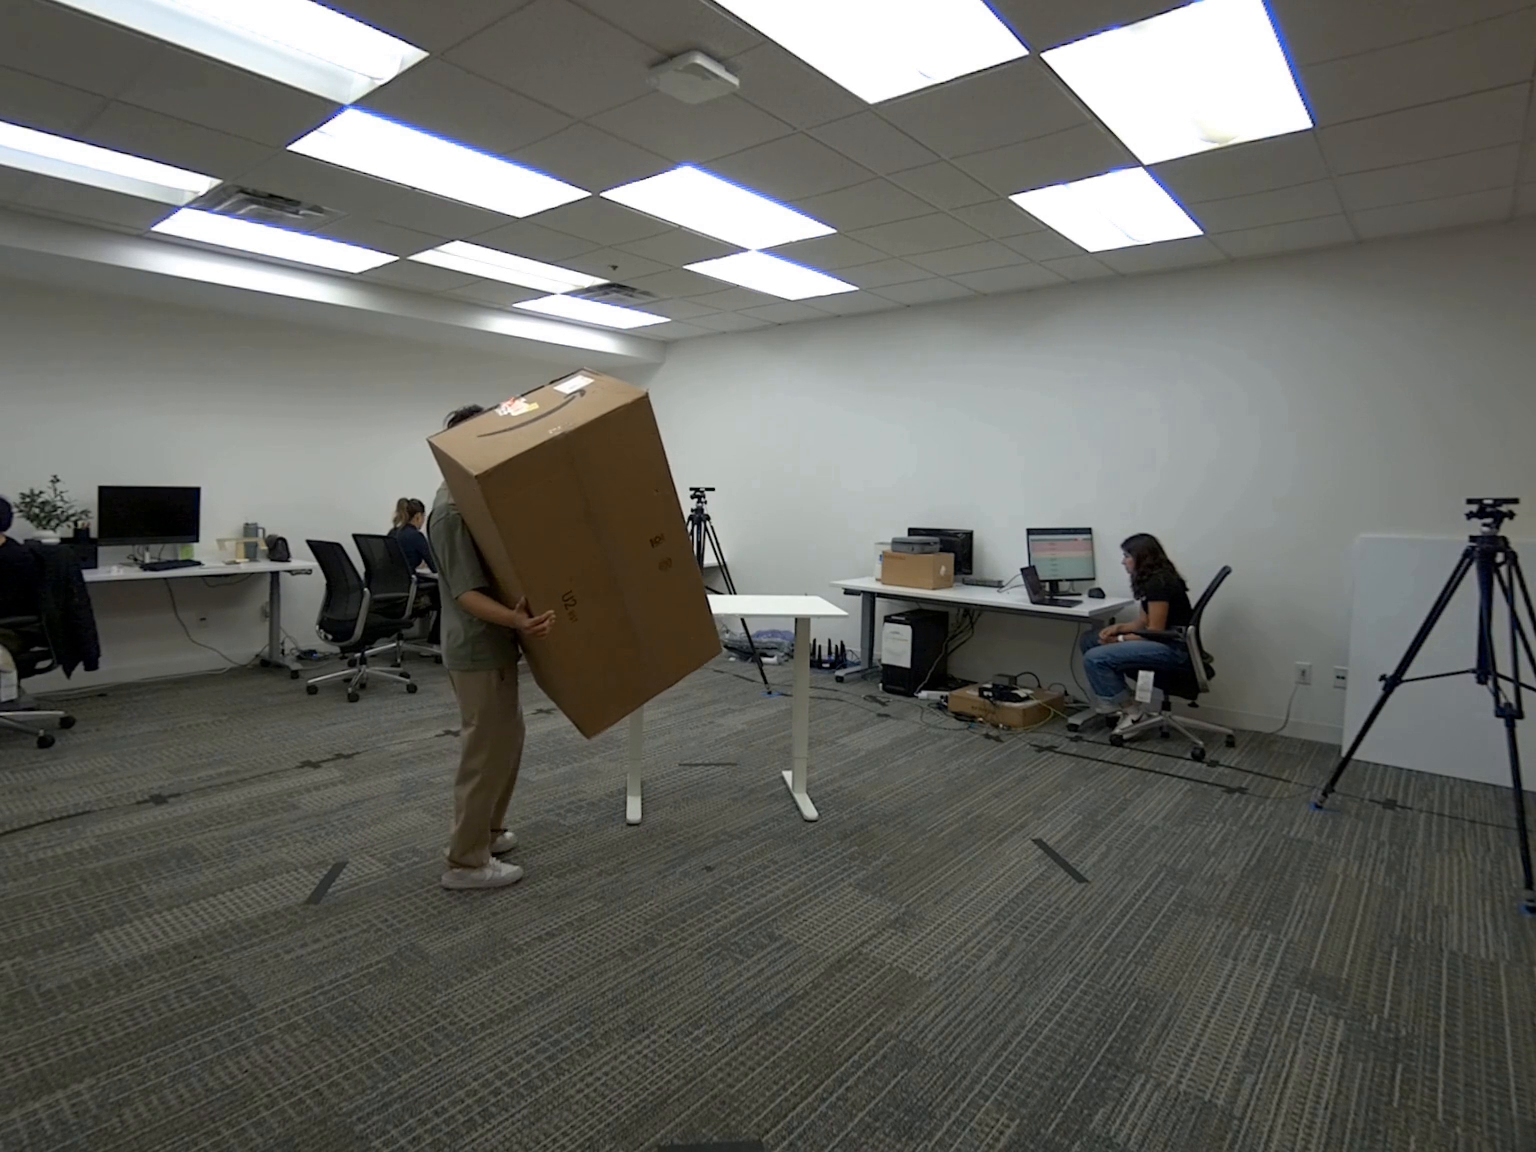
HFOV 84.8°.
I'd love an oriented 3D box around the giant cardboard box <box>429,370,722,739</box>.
[{"bbox_3d":[-0.612,-0.073,2.815,0.572,0.993,0.444,-32,37,-25],"label":"giant cardboard box"}]
